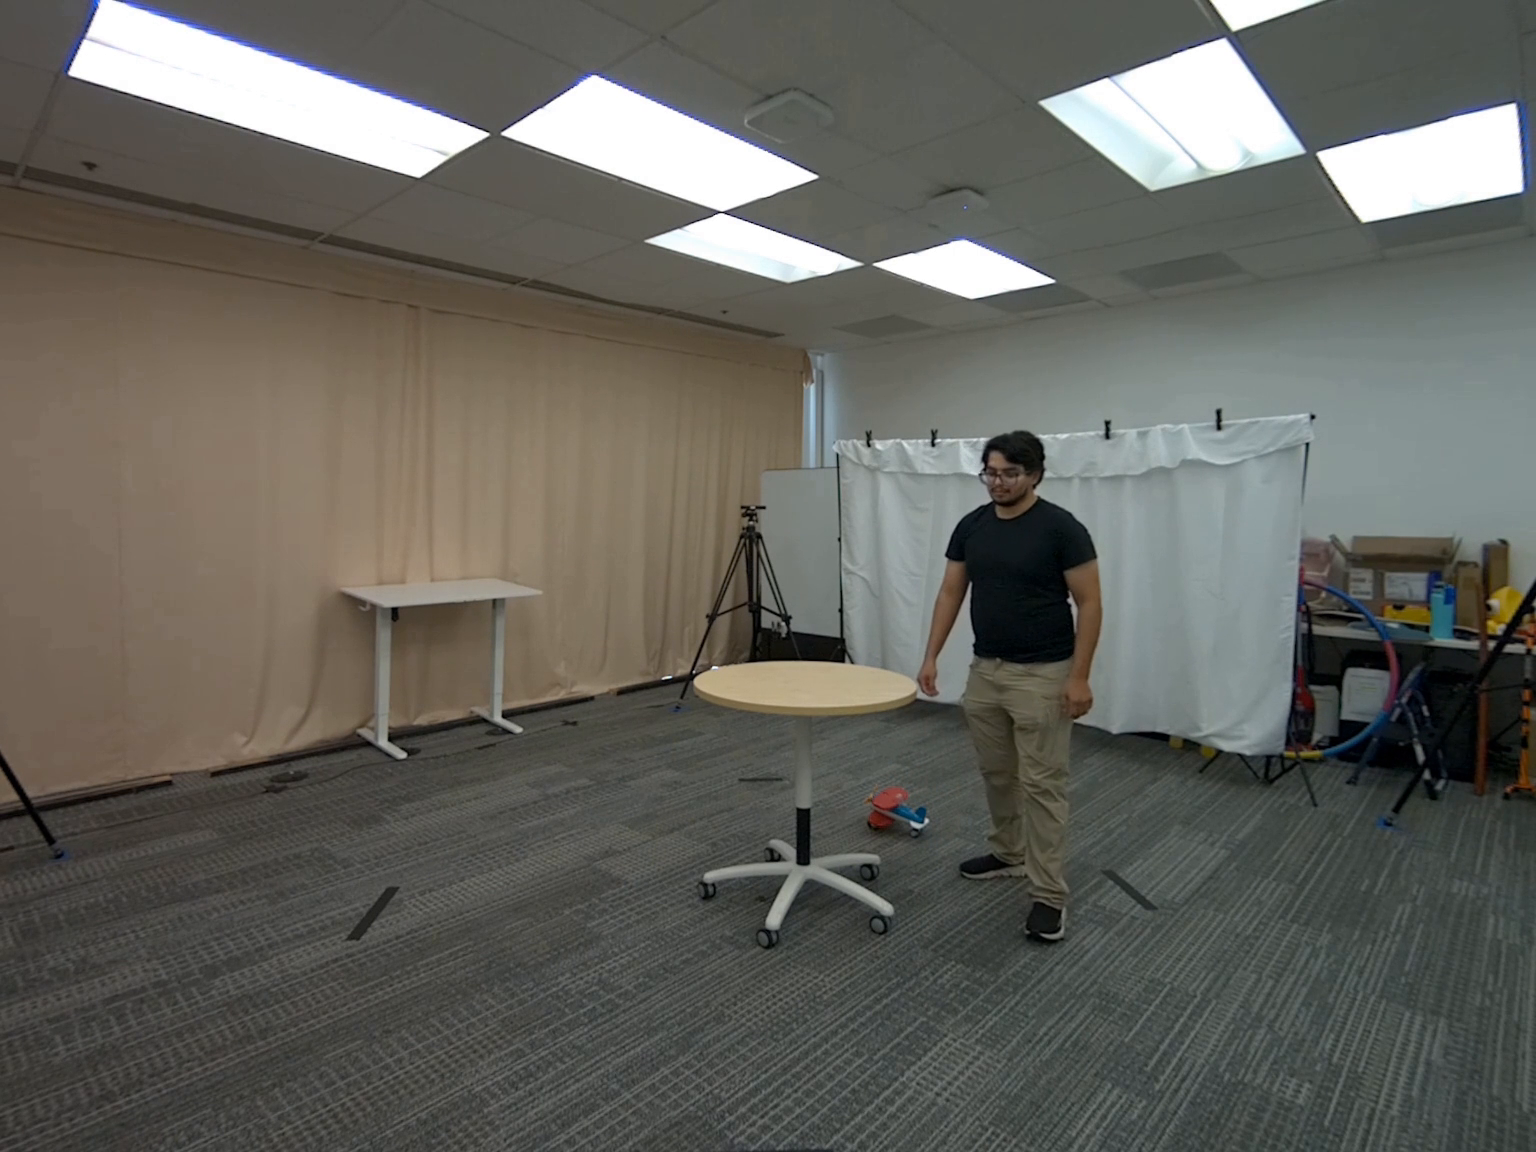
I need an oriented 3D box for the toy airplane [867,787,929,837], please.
[{"bbox_3d":[0.560,1.015,3.625,0.261,0.156,0.250,-1,4,6],"label":"toy airplane"}]
